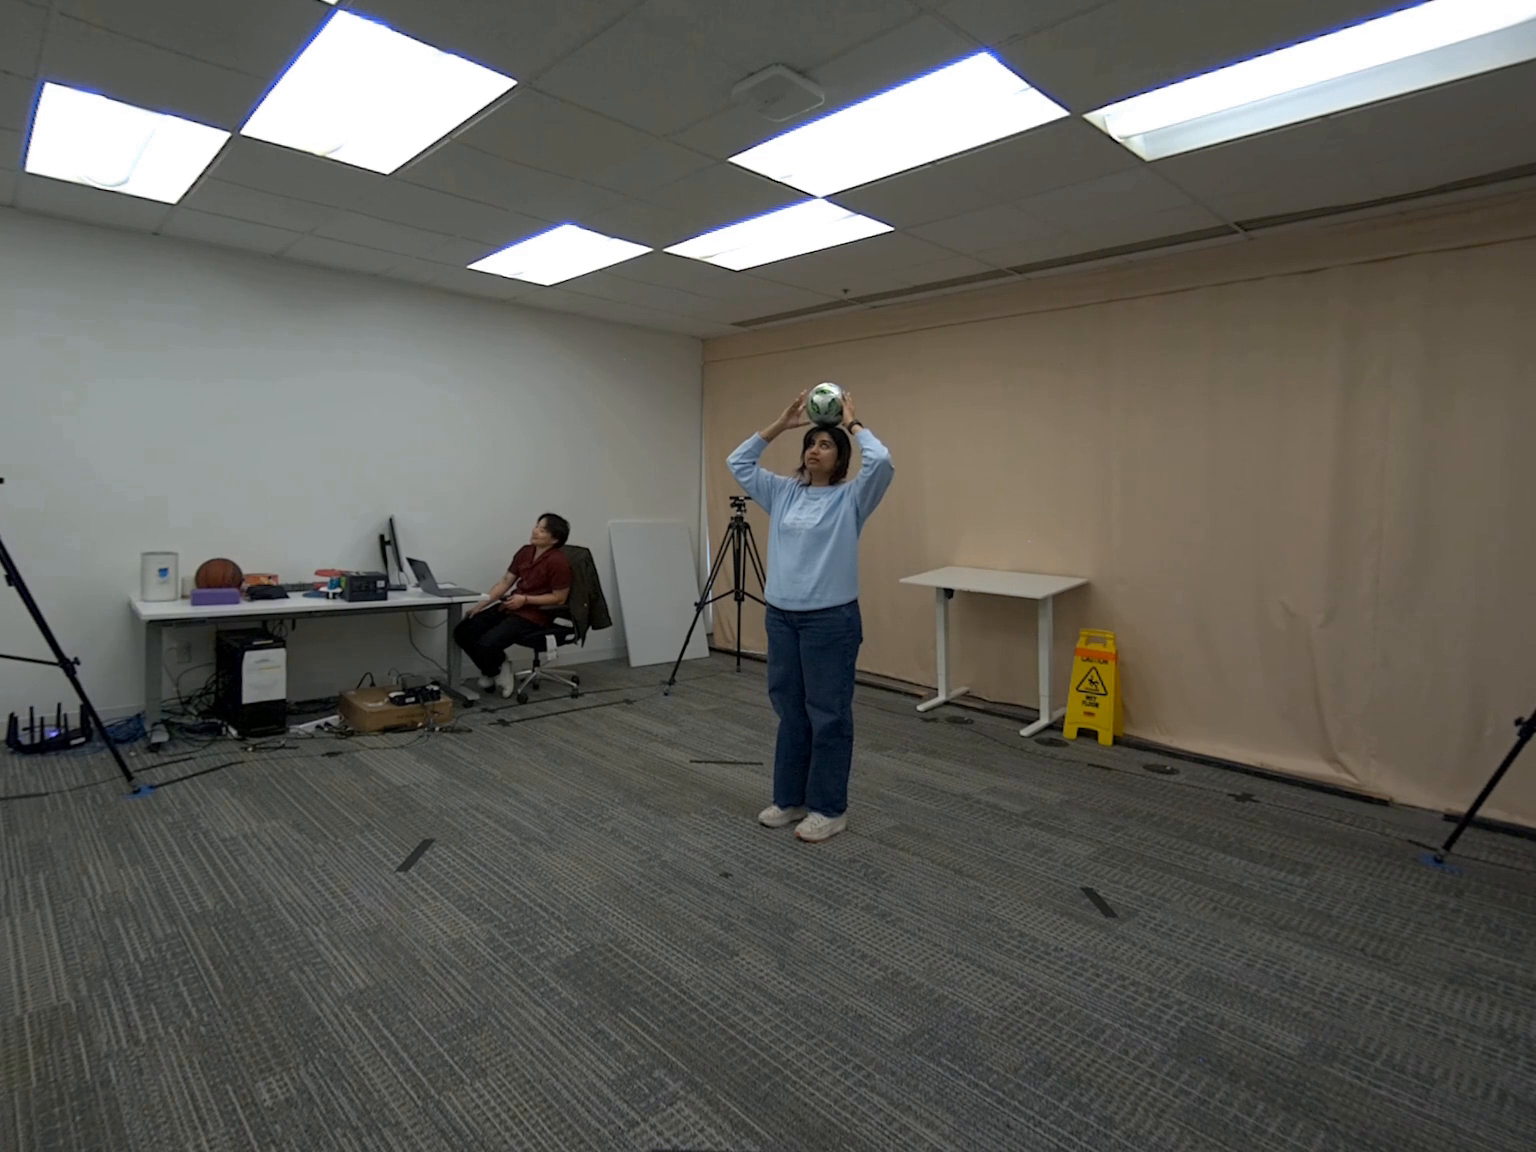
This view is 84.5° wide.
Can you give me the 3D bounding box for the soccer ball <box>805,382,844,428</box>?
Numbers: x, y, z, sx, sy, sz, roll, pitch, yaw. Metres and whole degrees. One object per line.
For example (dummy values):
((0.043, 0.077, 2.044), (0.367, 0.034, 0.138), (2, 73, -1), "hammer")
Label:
((0.243, -0.714, 3.533), (0.187, 0.187, 0.188), (1, 4, -1), "soccer ball")
